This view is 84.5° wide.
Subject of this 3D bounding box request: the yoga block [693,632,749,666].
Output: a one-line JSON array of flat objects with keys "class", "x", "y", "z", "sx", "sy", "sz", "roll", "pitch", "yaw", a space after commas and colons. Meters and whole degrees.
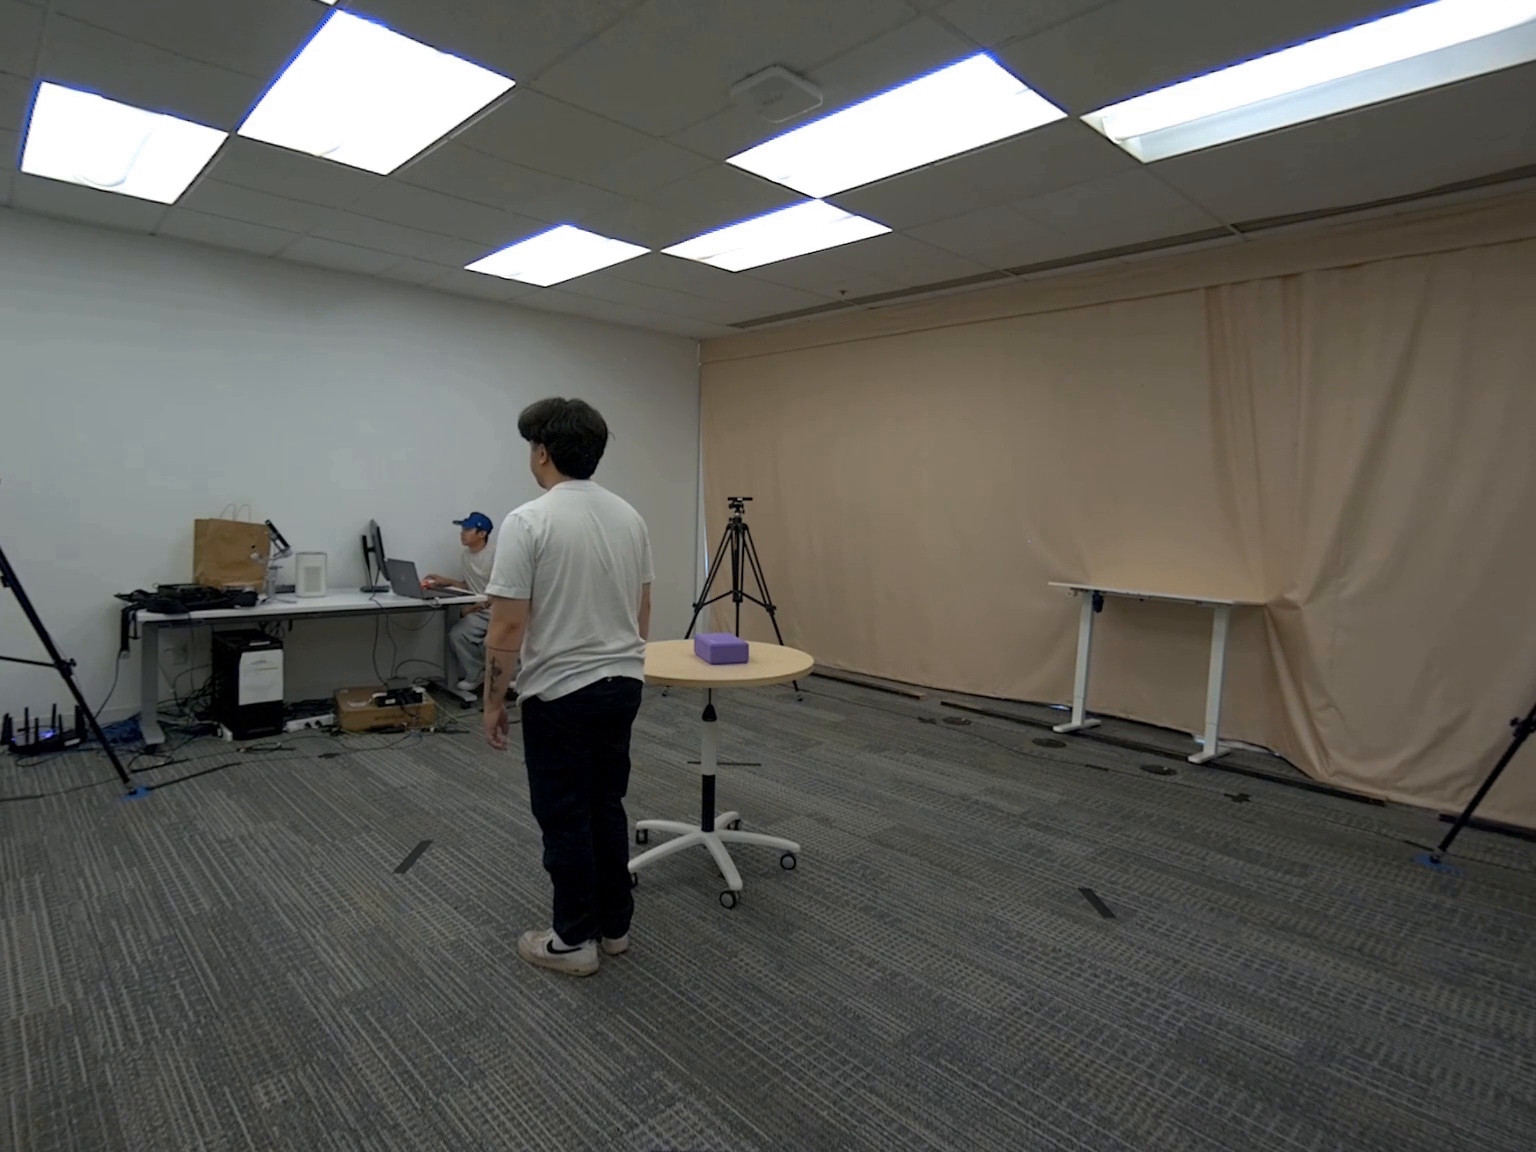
[{"class": "yoga block", "x": -0.184, "y": 0.269, "z": 3.120, "sx": 0.147, "sy": 0.076, "sz": 0.233, "roll": -1, "pitch": 6, "yaw": -19}]
